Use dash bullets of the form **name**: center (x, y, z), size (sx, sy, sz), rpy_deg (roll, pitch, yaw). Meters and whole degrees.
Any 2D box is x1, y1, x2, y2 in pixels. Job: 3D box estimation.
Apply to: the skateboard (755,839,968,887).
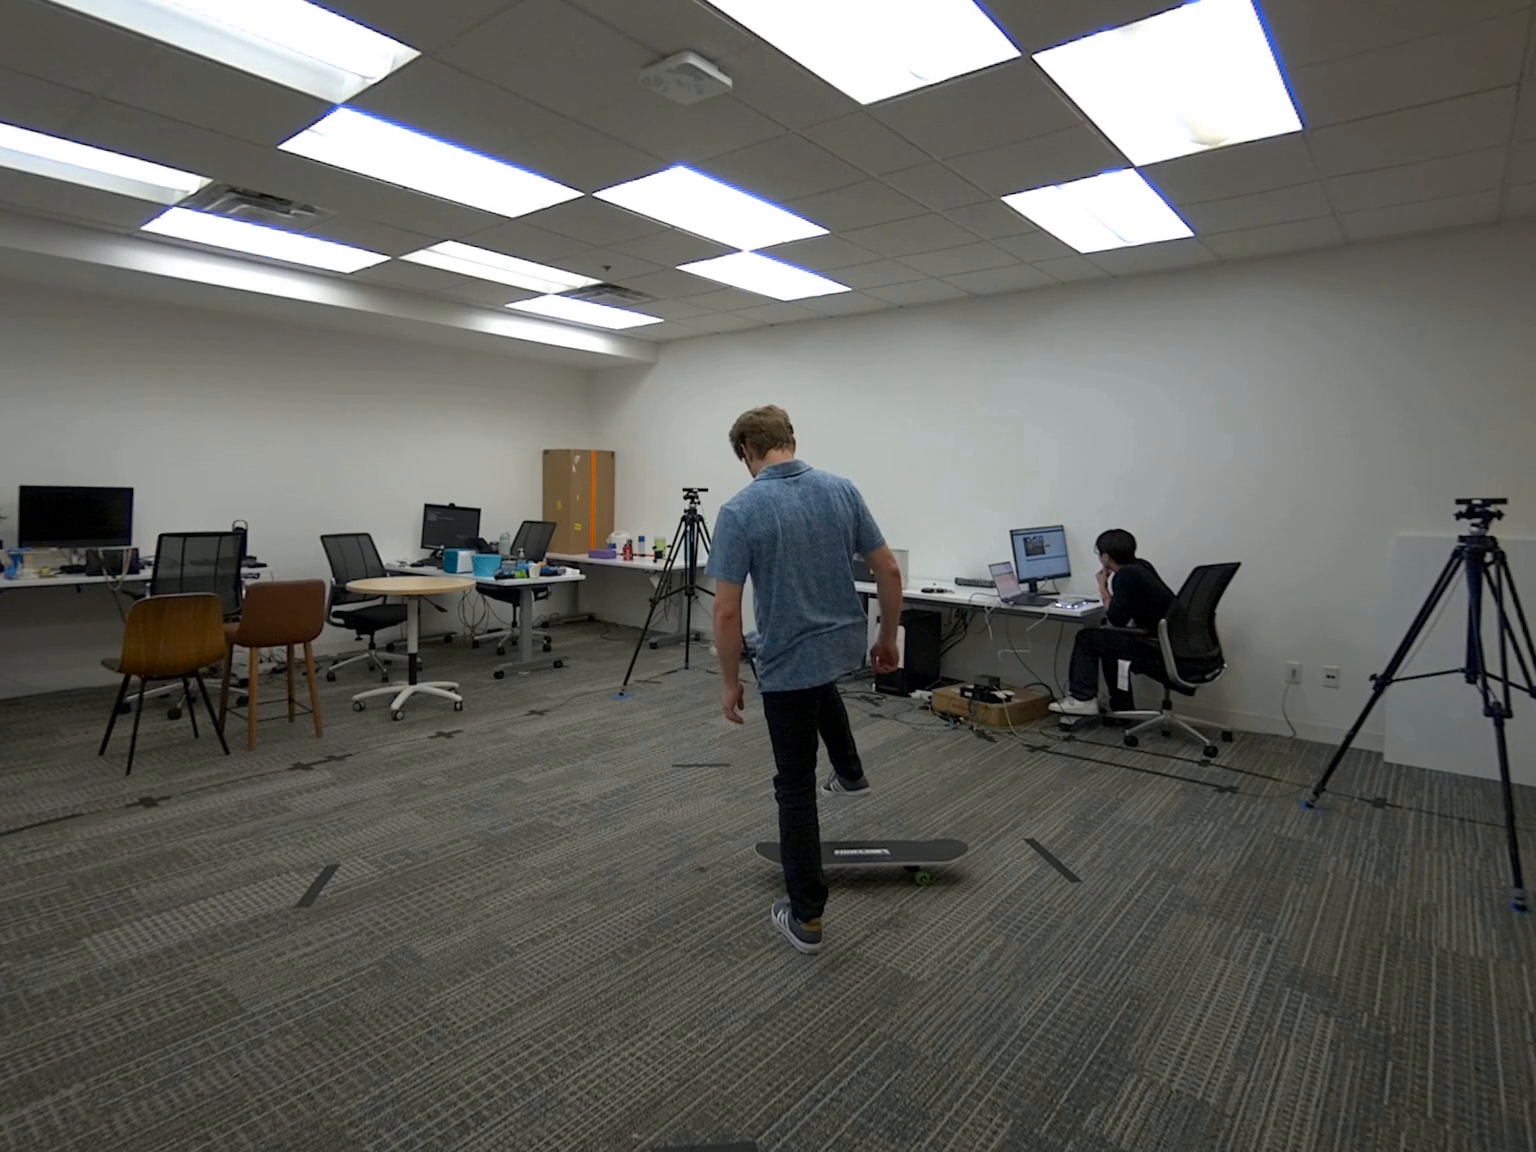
- **skateboard**: center (0.329, 1.025, 3.079), size (0.780, 0.110, 0.195), rpy_deg (0, 5, -7)
